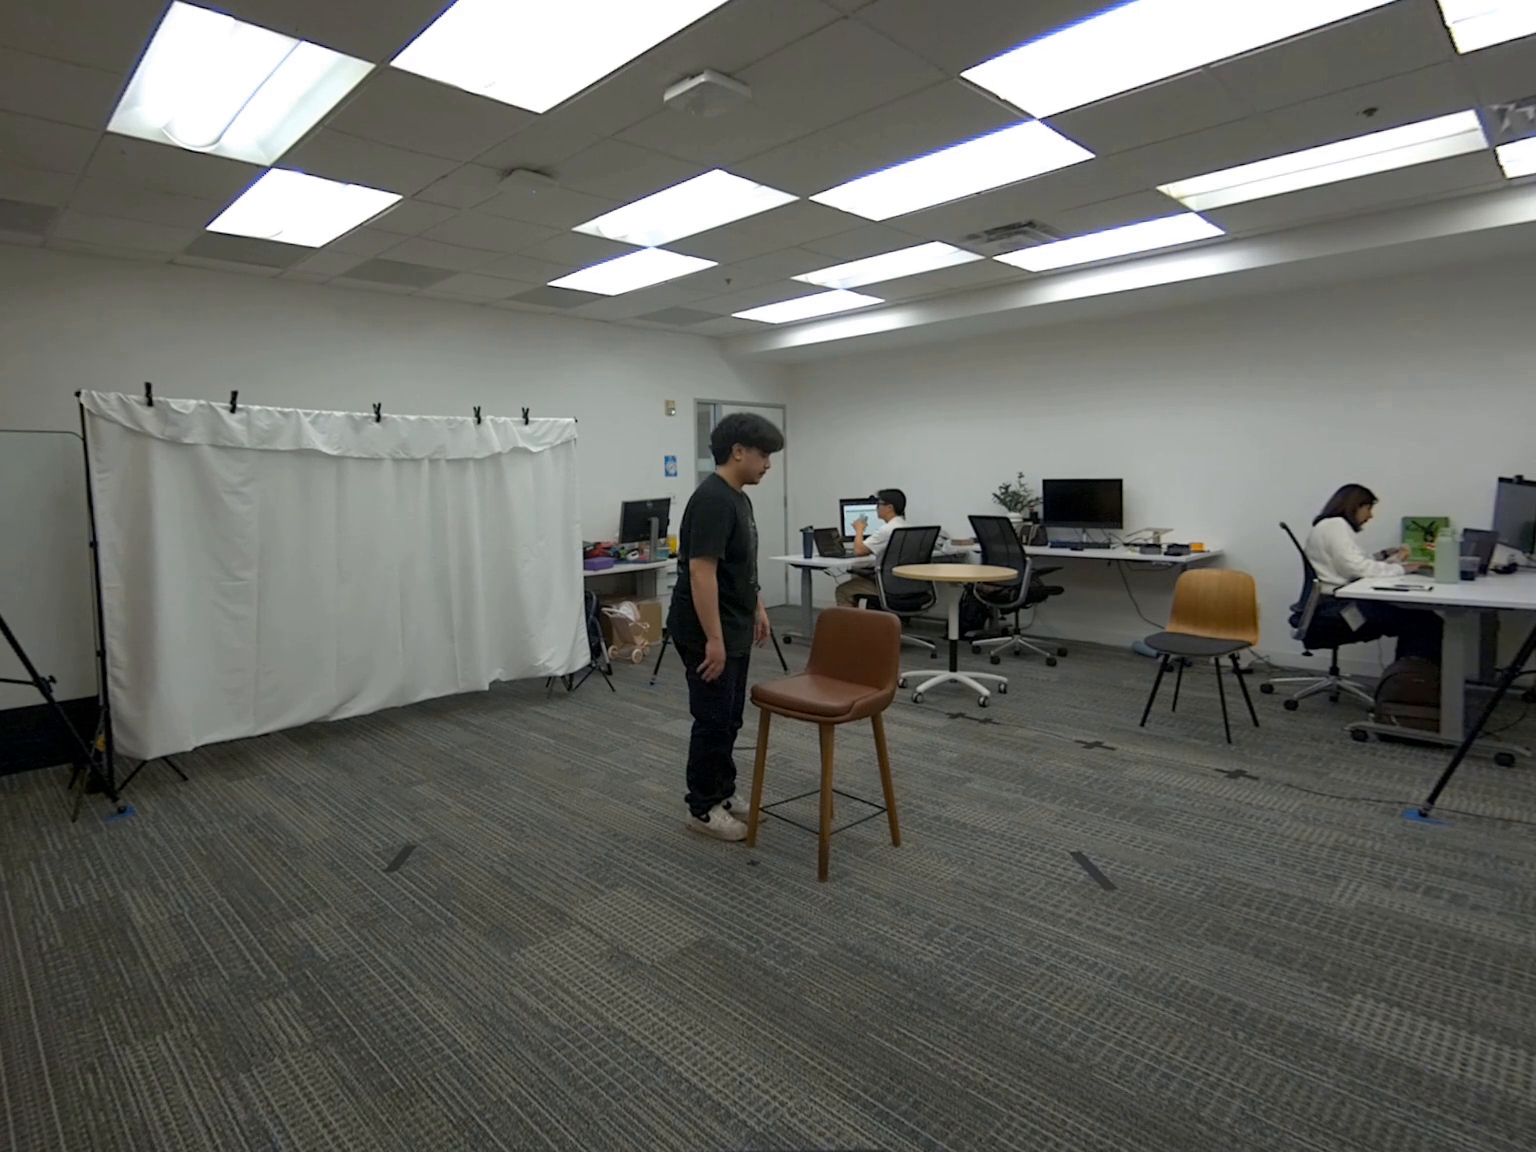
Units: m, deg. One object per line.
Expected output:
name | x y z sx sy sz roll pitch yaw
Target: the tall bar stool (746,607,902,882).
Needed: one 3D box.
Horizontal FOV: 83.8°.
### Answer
tall bar stool | 0.221 0.588 3.214 0.454 0.888 0.470 -1 3 -40
